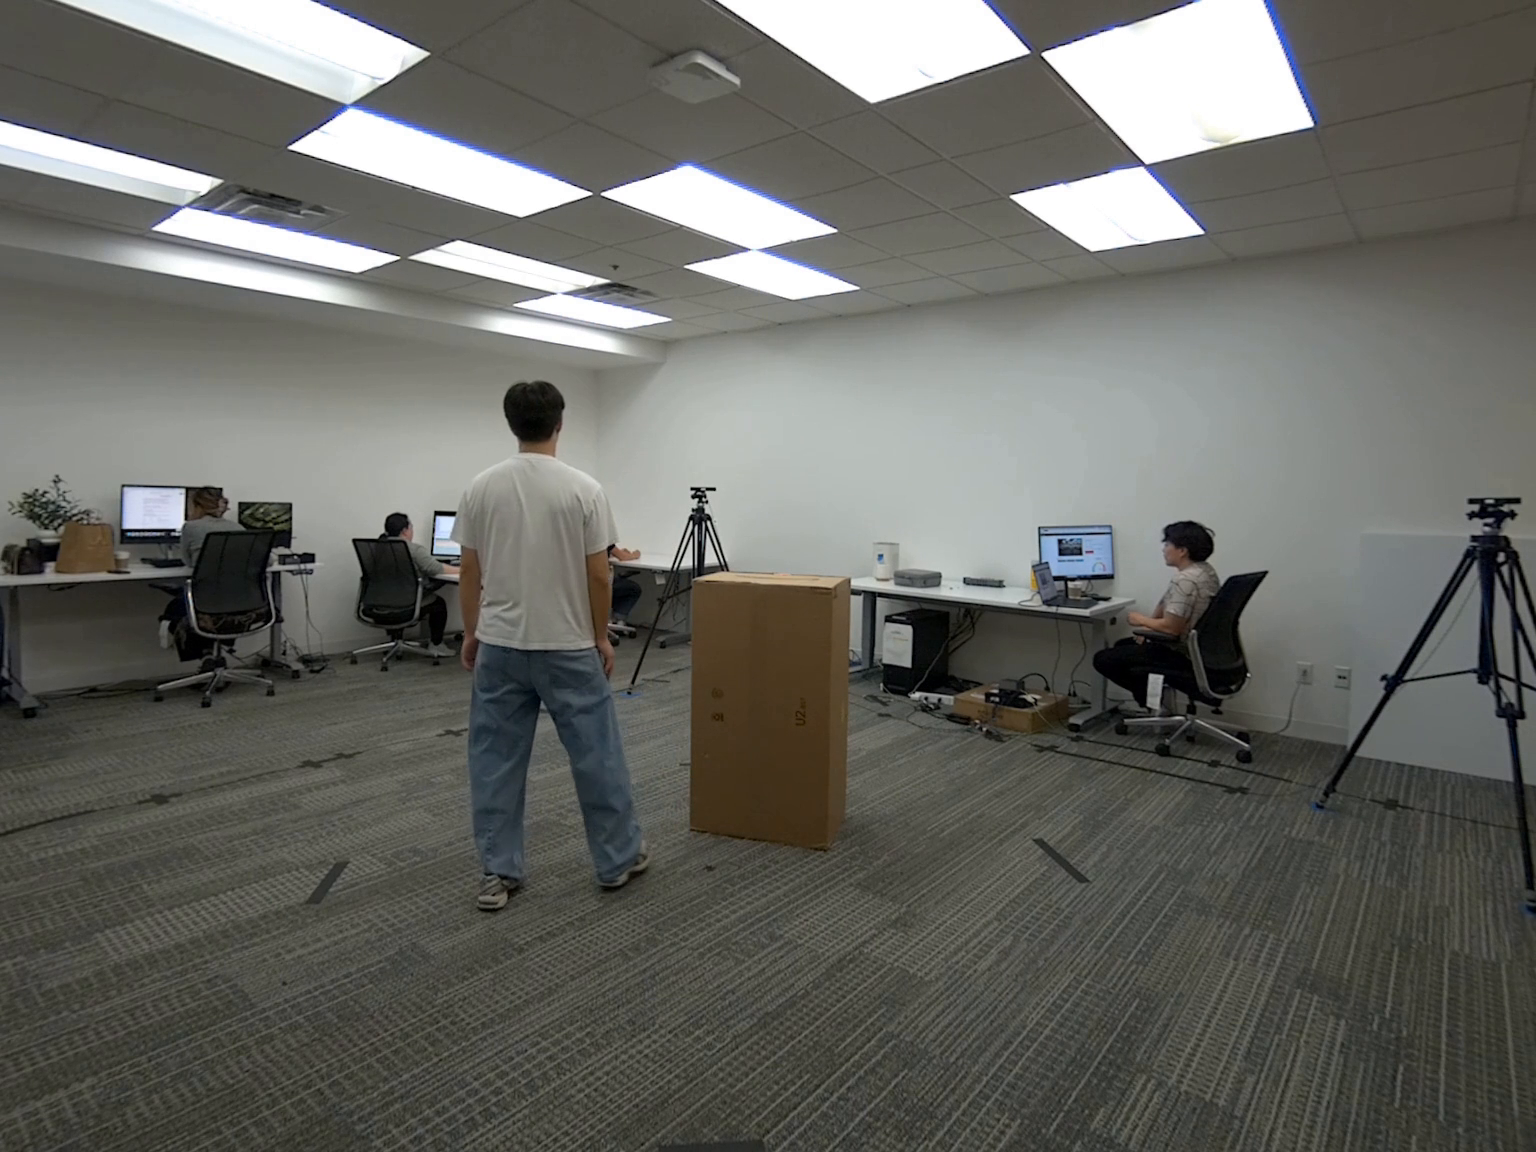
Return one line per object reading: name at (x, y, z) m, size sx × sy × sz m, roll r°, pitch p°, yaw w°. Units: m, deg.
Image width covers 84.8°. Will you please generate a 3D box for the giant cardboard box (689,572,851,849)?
giant cardboard box at (0.005, 0.516, 3.549) m, size 0.589 × 1.023 × 0.419 m, roll 2°, pitch 3°, yaw 18°
